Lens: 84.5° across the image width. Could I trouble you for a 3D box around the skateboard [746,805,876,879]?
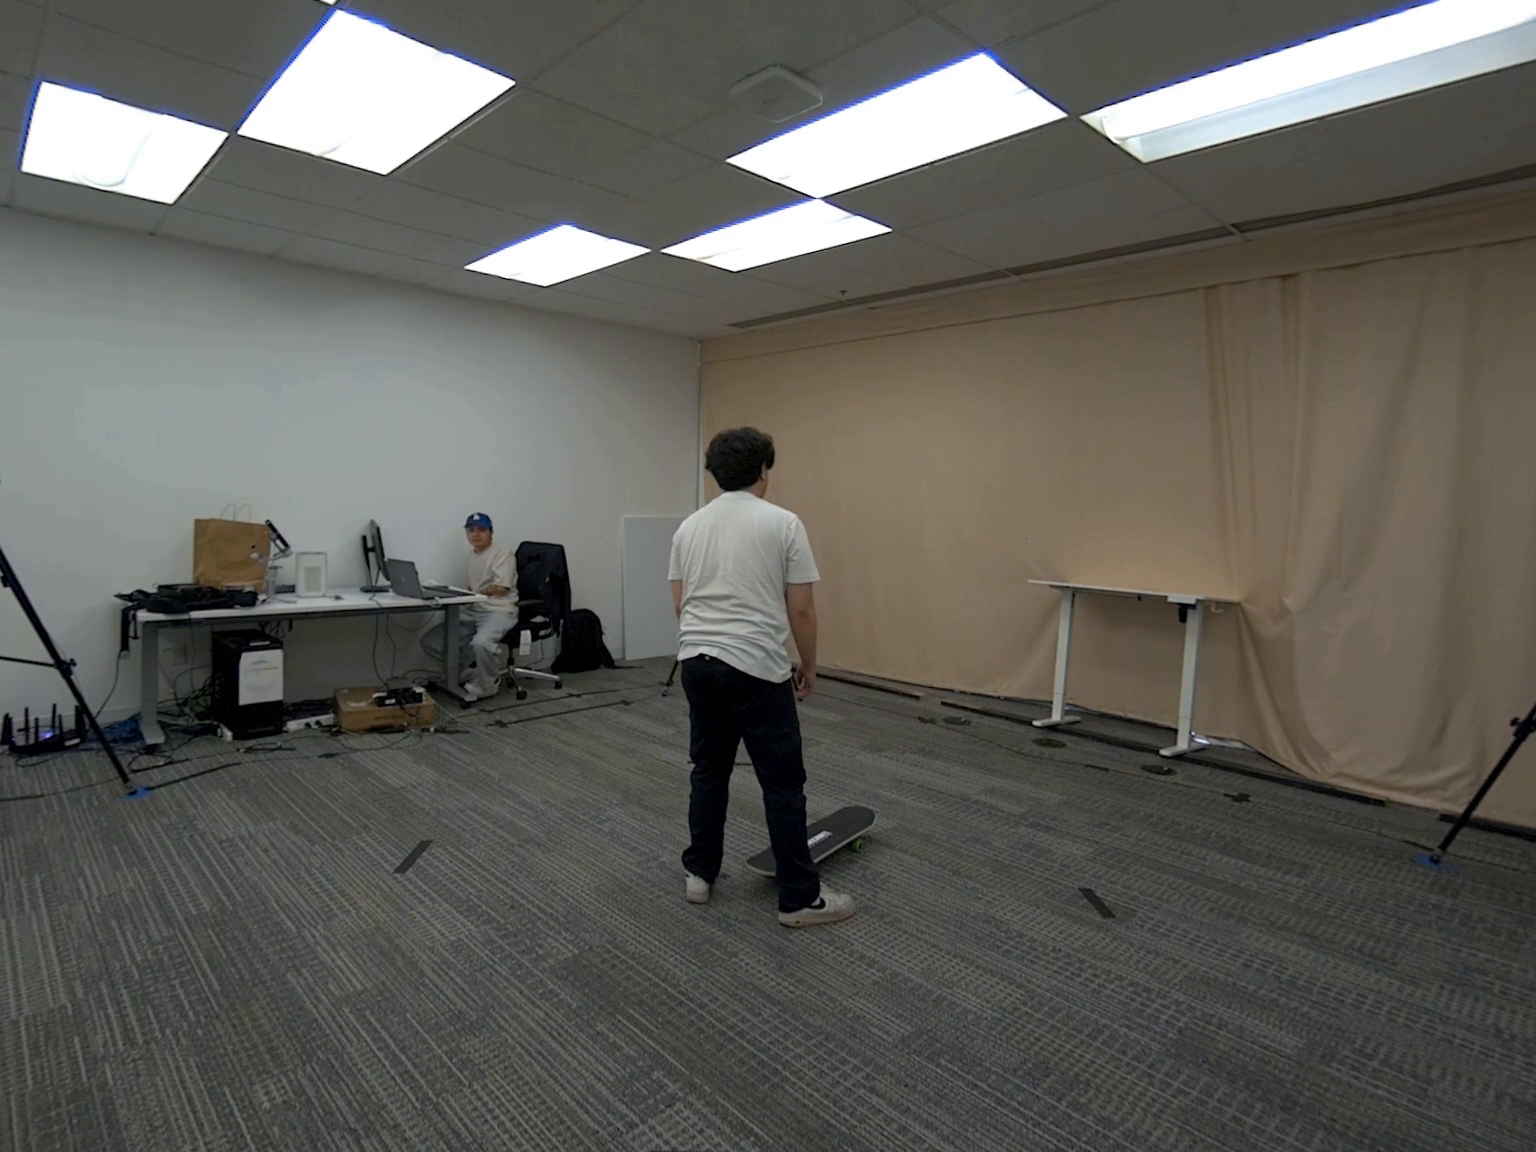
[{"bbox_3d":[0.176,1.048,3.241,0.198,0.110,0.769,4,6,34],"label":"skateboard"}]
